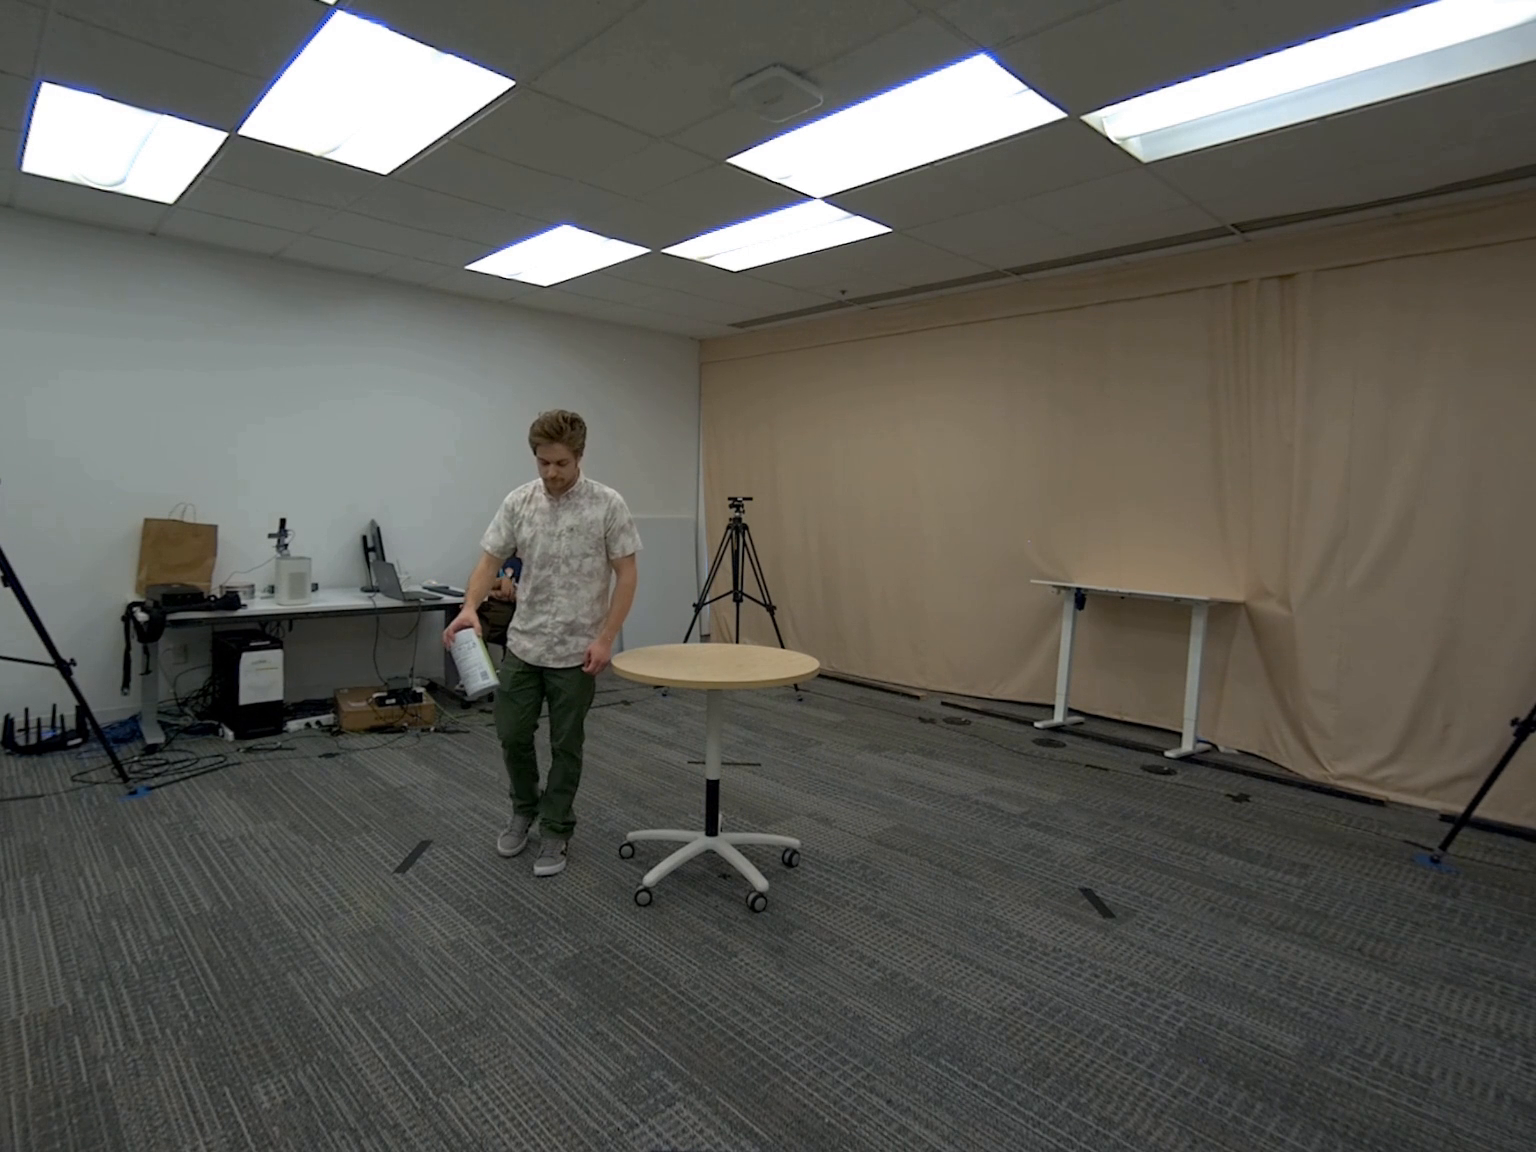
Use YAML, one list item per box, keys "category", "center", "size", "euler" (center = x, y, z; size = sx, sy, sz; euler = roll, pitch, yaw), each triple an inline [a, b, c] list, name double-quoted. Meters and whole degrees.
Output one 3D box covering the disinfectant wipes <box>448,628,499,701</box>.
- category: "disinfectant wipes"
  center: [-1.010, 0.296, 2.838]
  size: [0.117, 0.220, 0.117]
  euler: [-21, -11, -6]
